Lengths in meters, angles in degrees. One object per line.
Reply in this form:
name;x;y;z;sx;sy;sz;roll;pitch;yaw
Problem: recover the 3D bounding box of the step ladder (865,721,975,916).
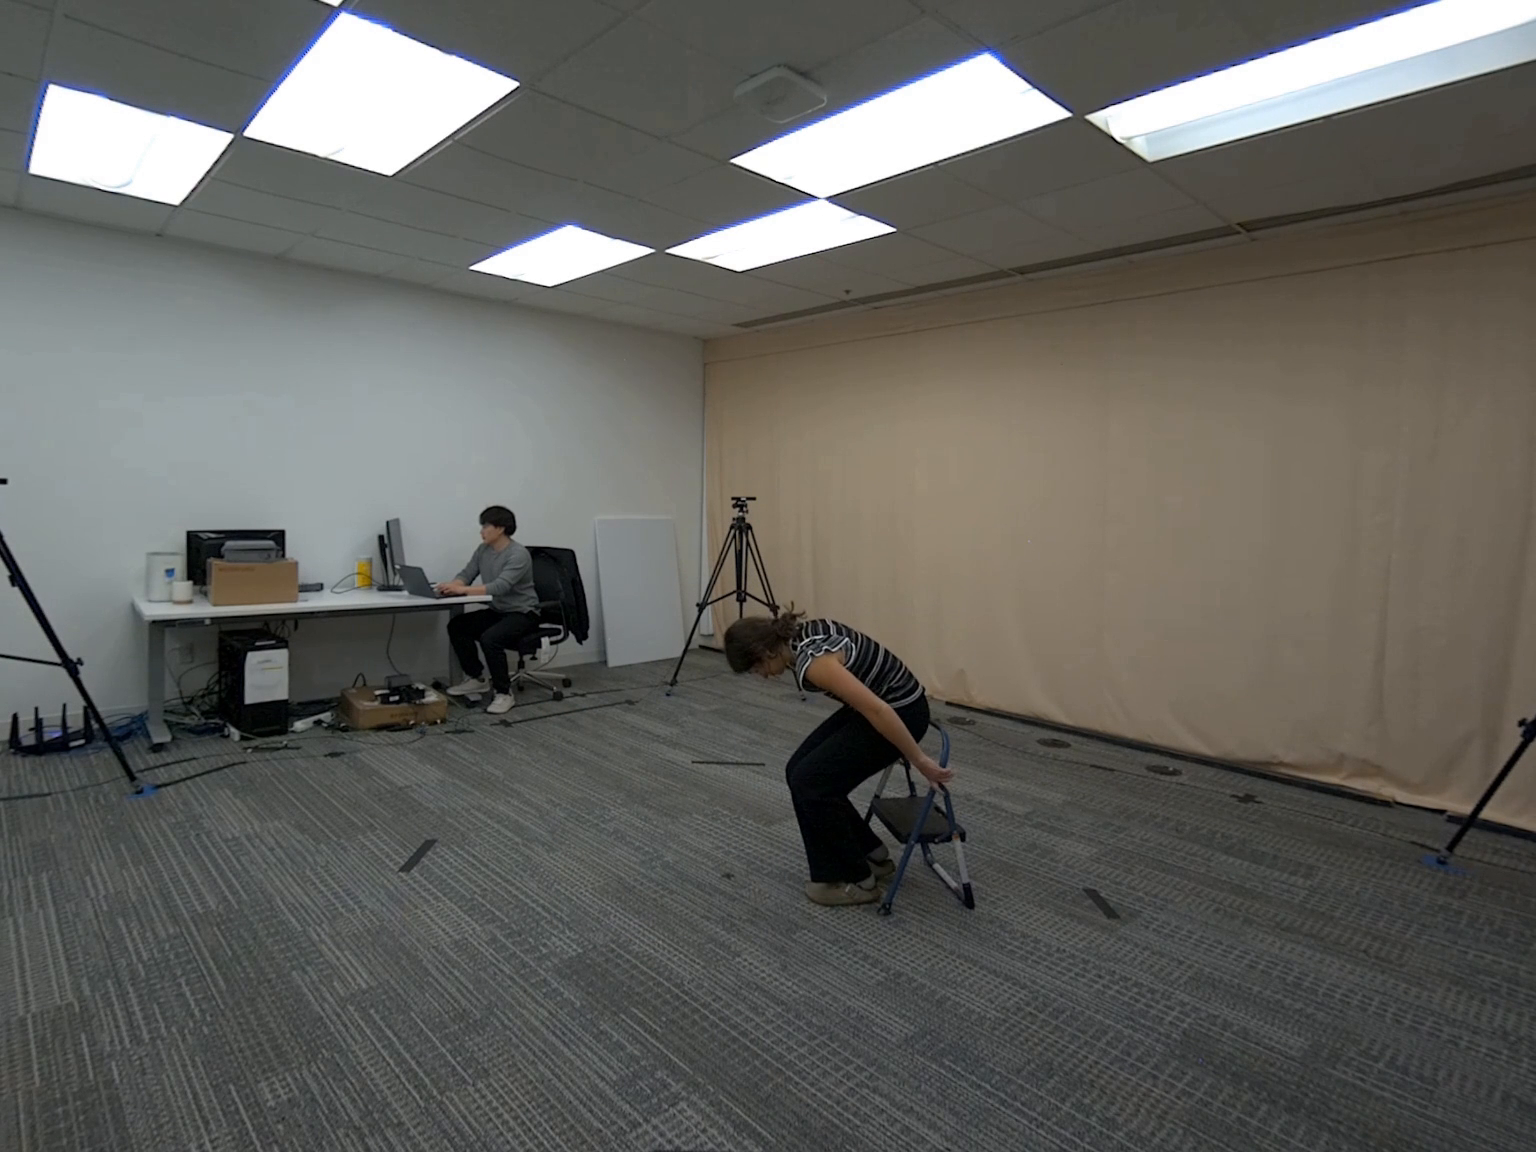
step ladder;0.512;0.824;3.054;0.346;0.604;0.435;1;4;-11
